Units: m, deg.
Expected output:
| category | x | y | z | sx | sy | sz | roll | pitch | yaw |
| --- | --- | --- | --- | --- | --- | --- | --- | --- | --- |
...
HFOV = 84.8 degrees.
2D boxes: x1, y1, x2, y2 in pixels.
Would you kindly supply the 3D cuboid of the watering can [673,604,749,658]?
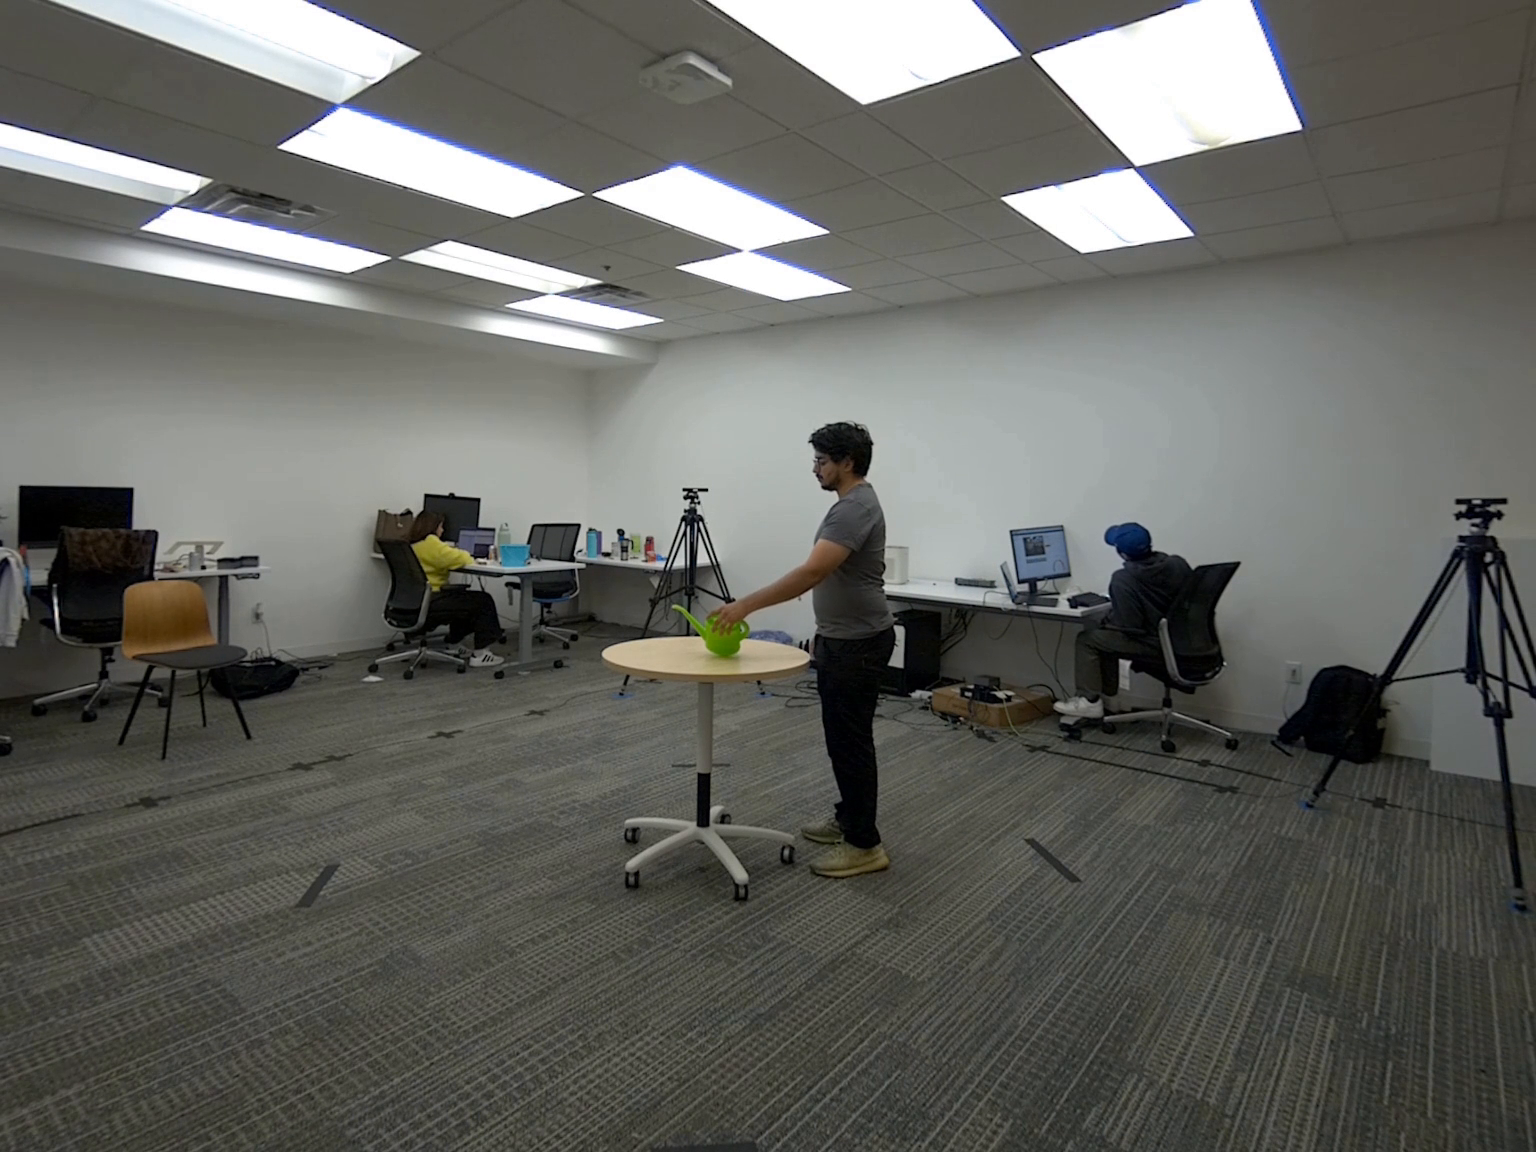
| category | x | y | z | sx | sy | sz | roll | pitch | yaw |
| --- | --- | --- | --- | --- | --- | --- | --- | --- | --- |
| watering can | -0.218 | 0.179 | 3.103 | 0.285 | 0.172 | 0.098 | 20 | 45 | 20 |
